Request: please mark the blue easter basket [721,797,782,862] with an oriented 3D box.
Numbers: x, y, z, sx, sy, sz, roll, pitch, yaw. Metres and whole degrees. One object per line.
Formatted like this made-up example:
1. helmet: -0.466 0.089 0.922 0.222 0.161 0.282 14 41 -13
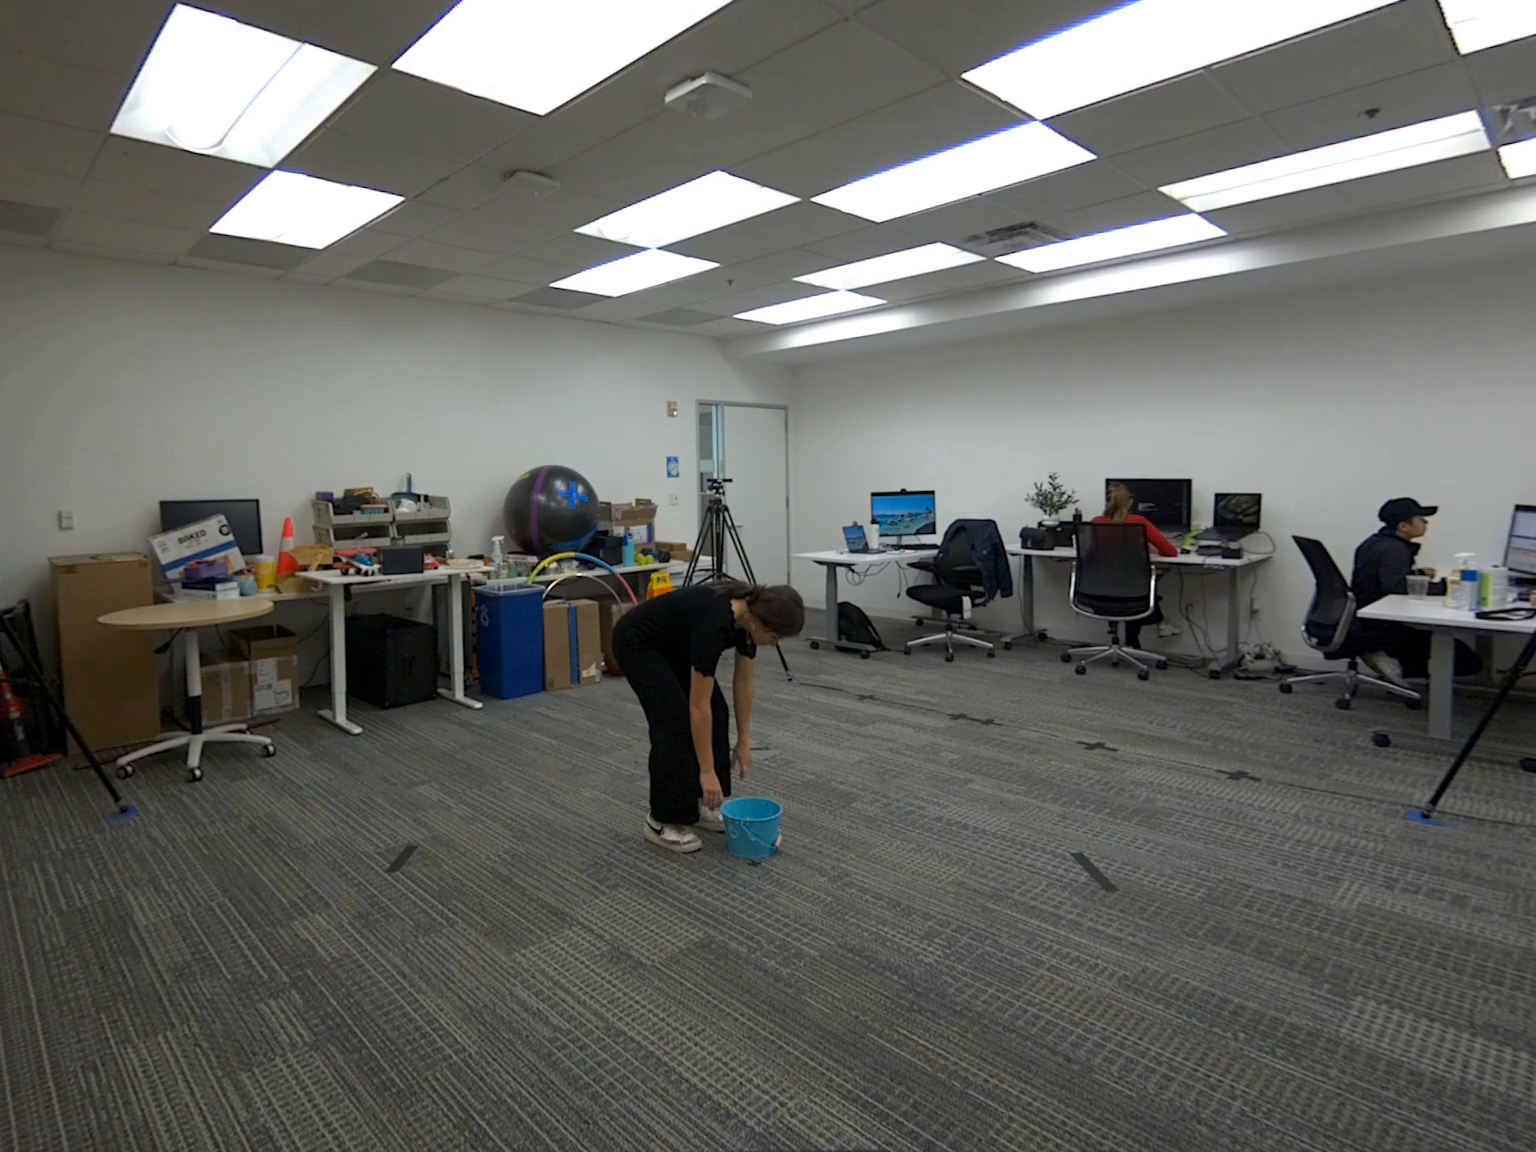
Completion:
1. blue easter basket: -0.062 0.953 3.226 0.243 0.155 0.245 -2 5 -2
